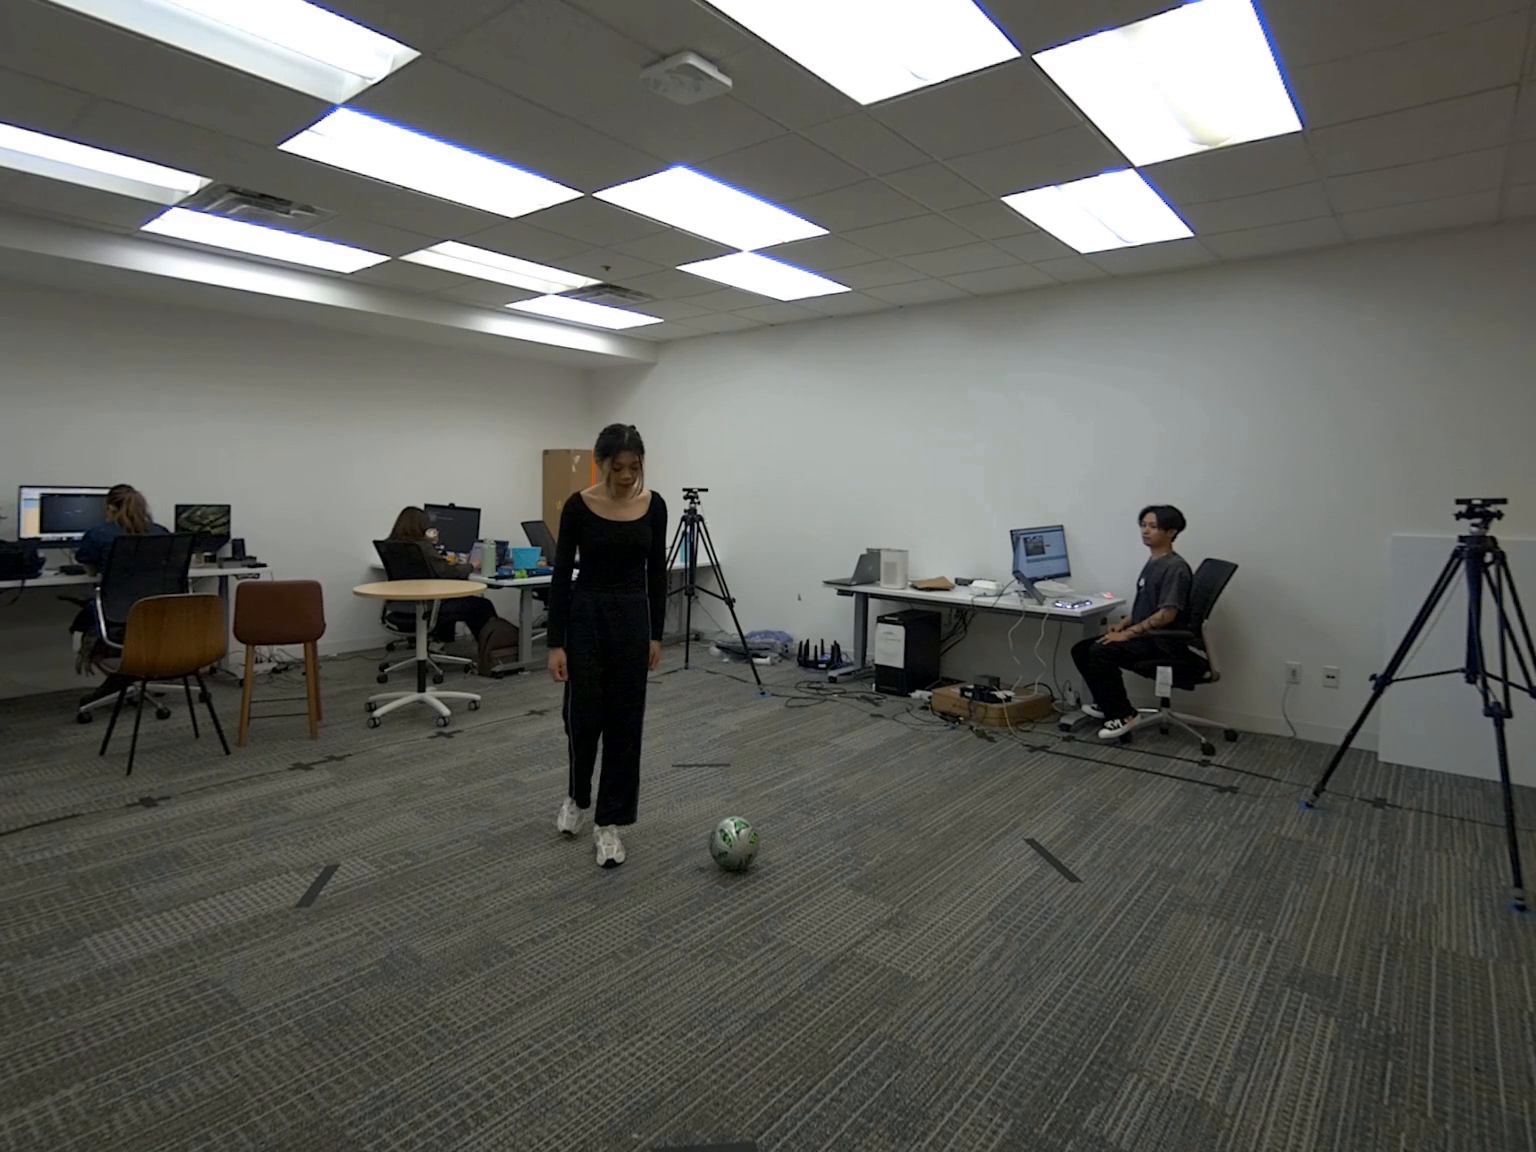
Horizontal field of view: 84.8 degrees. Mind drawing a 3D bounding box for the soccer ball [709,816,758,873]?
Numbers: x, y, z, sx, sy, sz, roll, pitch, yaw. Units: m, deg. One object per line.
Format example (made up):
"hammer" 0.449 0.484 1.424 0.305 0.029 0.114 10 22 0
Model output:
"soccer ball" -0.131 0.976 3.125 0.187 0.187 0.188 1 4 -2
